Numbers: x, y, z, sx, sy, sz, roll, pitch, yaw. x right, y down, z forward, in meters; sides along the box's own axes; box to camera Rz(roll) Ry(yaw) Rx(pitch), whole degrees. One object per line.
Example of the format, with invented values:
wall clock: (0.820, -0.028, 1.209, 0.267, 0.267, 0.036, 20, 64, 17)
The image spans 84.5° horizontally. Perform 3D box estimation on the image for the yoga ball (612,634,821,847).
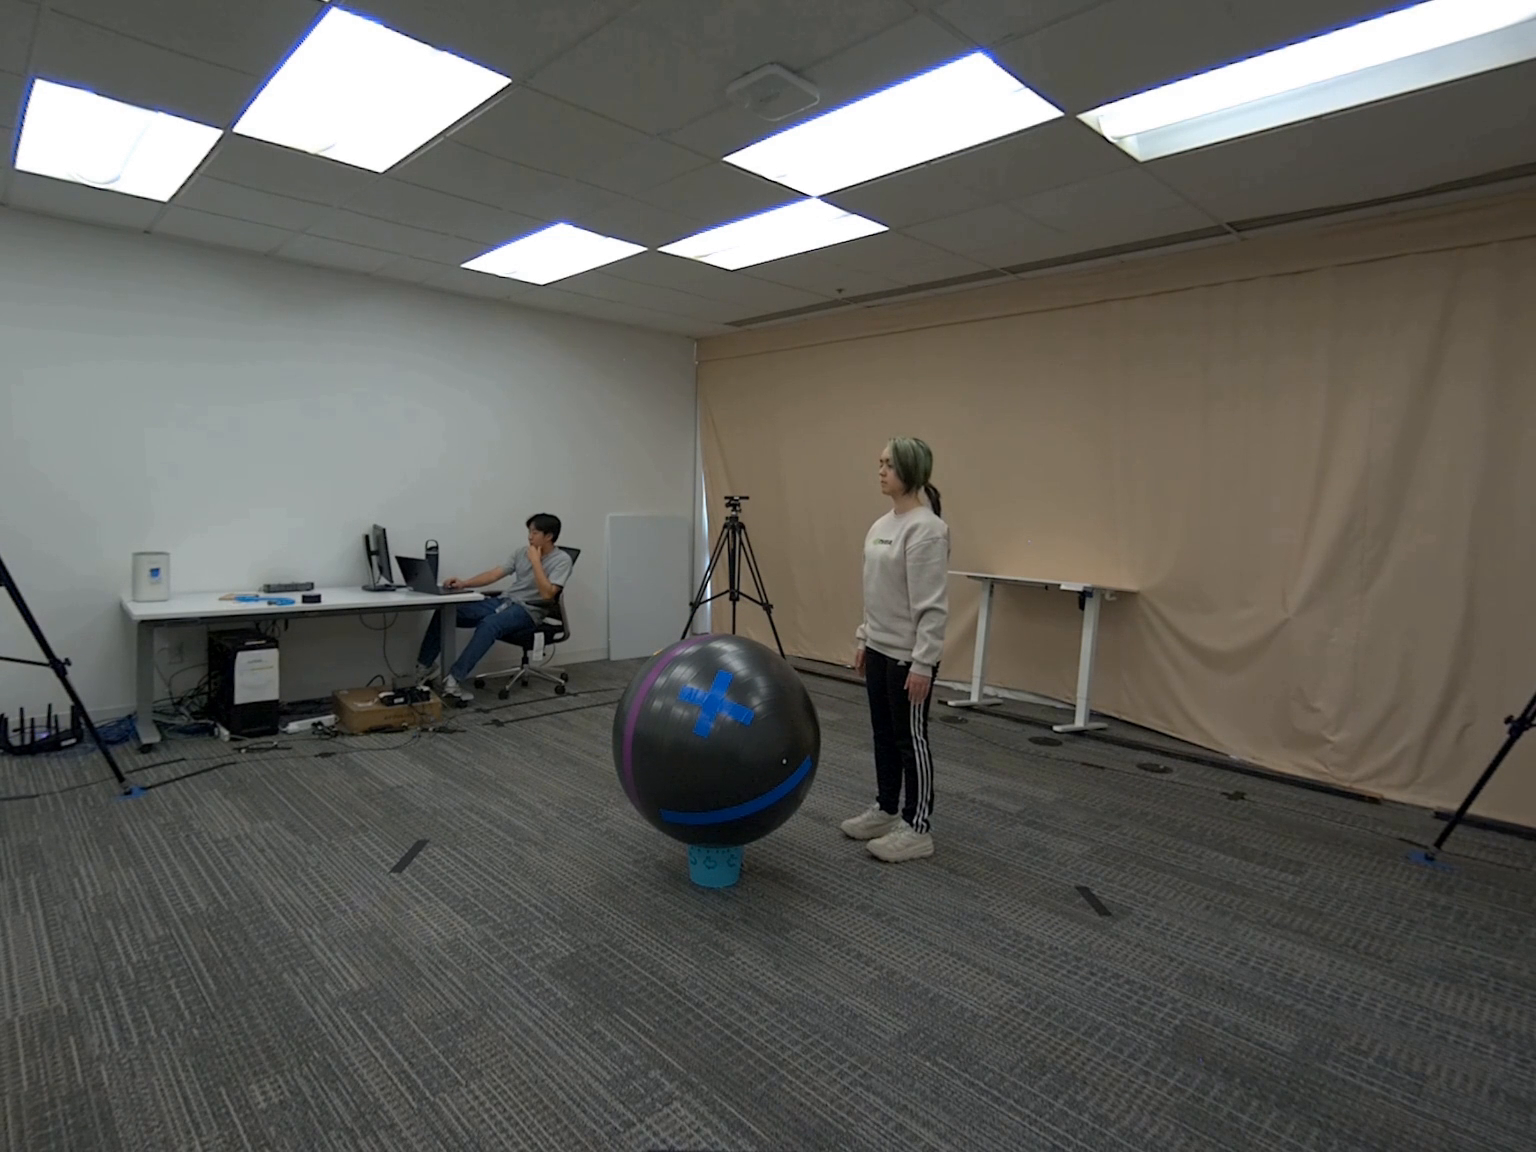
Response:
yoga ball: (-0.189, 0.590, 3.066, 0.757, 0.756, 0.761, 1, 4, -1)
